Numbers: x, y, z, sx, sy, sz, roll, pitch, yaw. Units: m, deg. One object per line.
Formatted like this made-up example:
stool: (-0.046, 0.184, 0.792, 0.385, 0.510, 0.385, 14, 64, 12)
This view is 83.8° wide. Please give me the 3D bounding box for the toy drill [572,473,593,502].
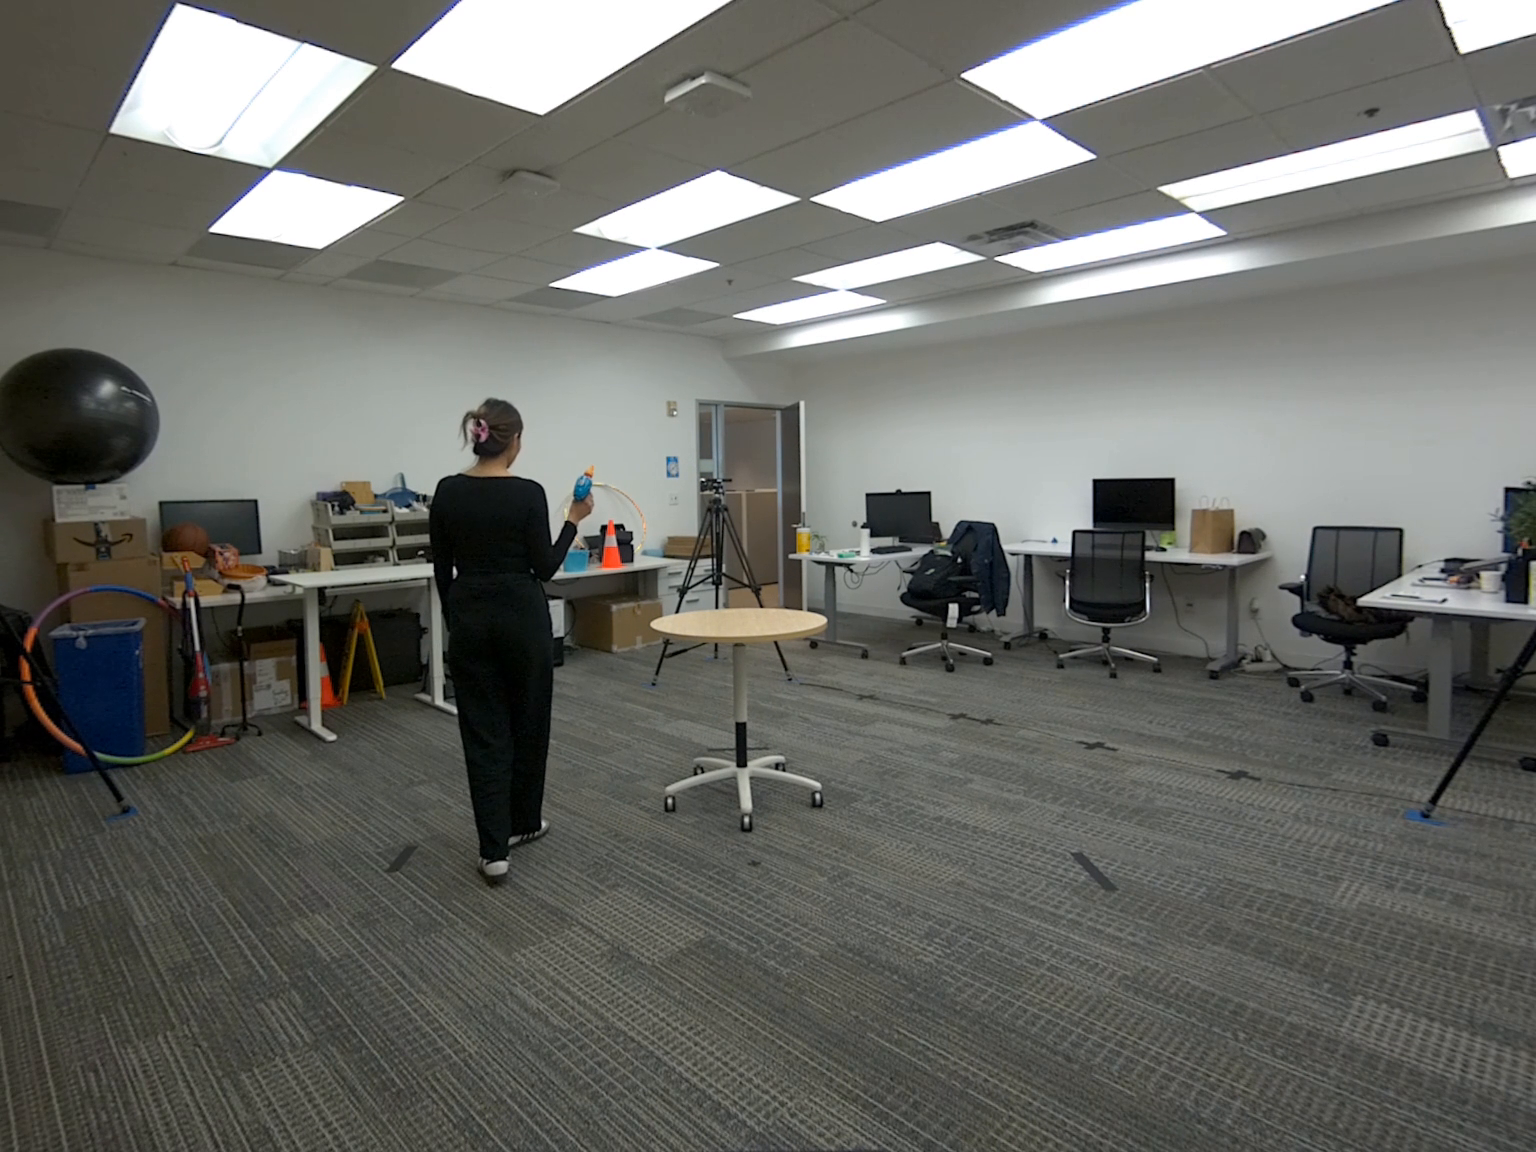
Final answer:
toy drill: (-0.709, -0.342, 3.307, 0.061, 0.173, 0.142, 10, -32, 4)
